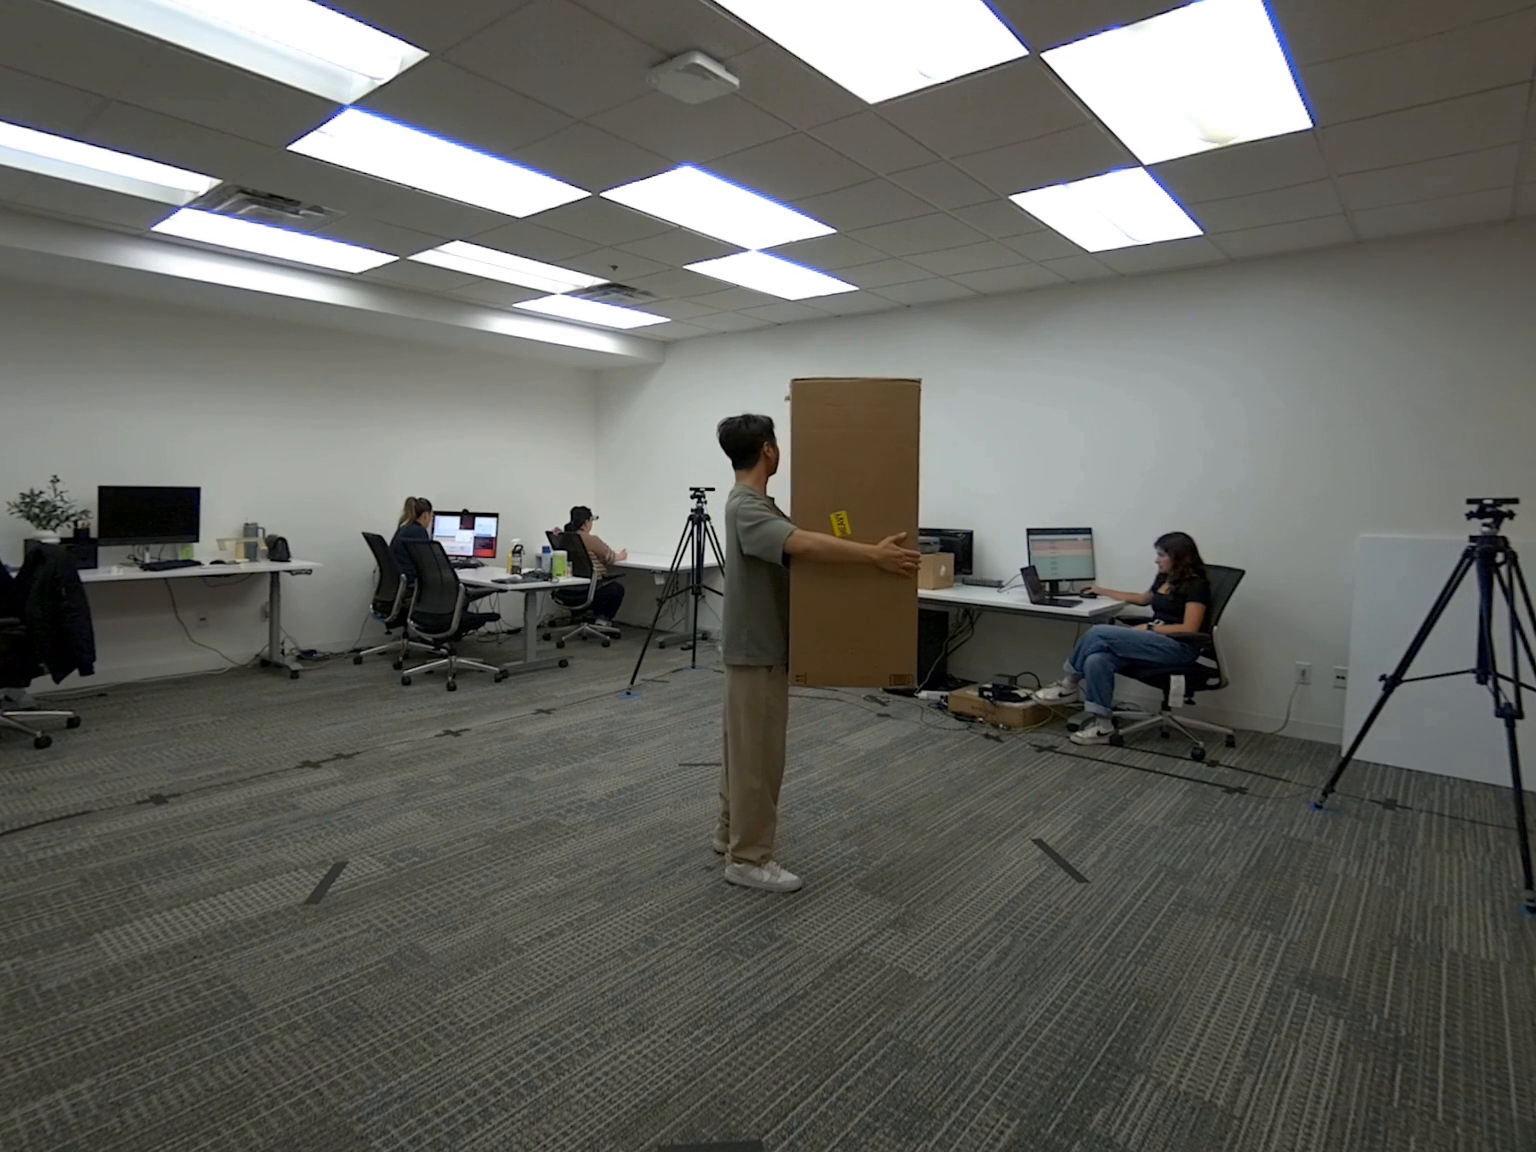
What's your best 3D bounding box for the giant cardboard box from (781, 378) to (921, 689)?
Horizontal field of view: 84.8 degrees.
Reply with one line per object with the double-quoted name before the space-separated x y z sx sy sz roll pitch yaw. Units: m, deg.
"giant cardboard box" 0.284 -0.173 3.076 0.428 1.023 0.577 0 3 2
